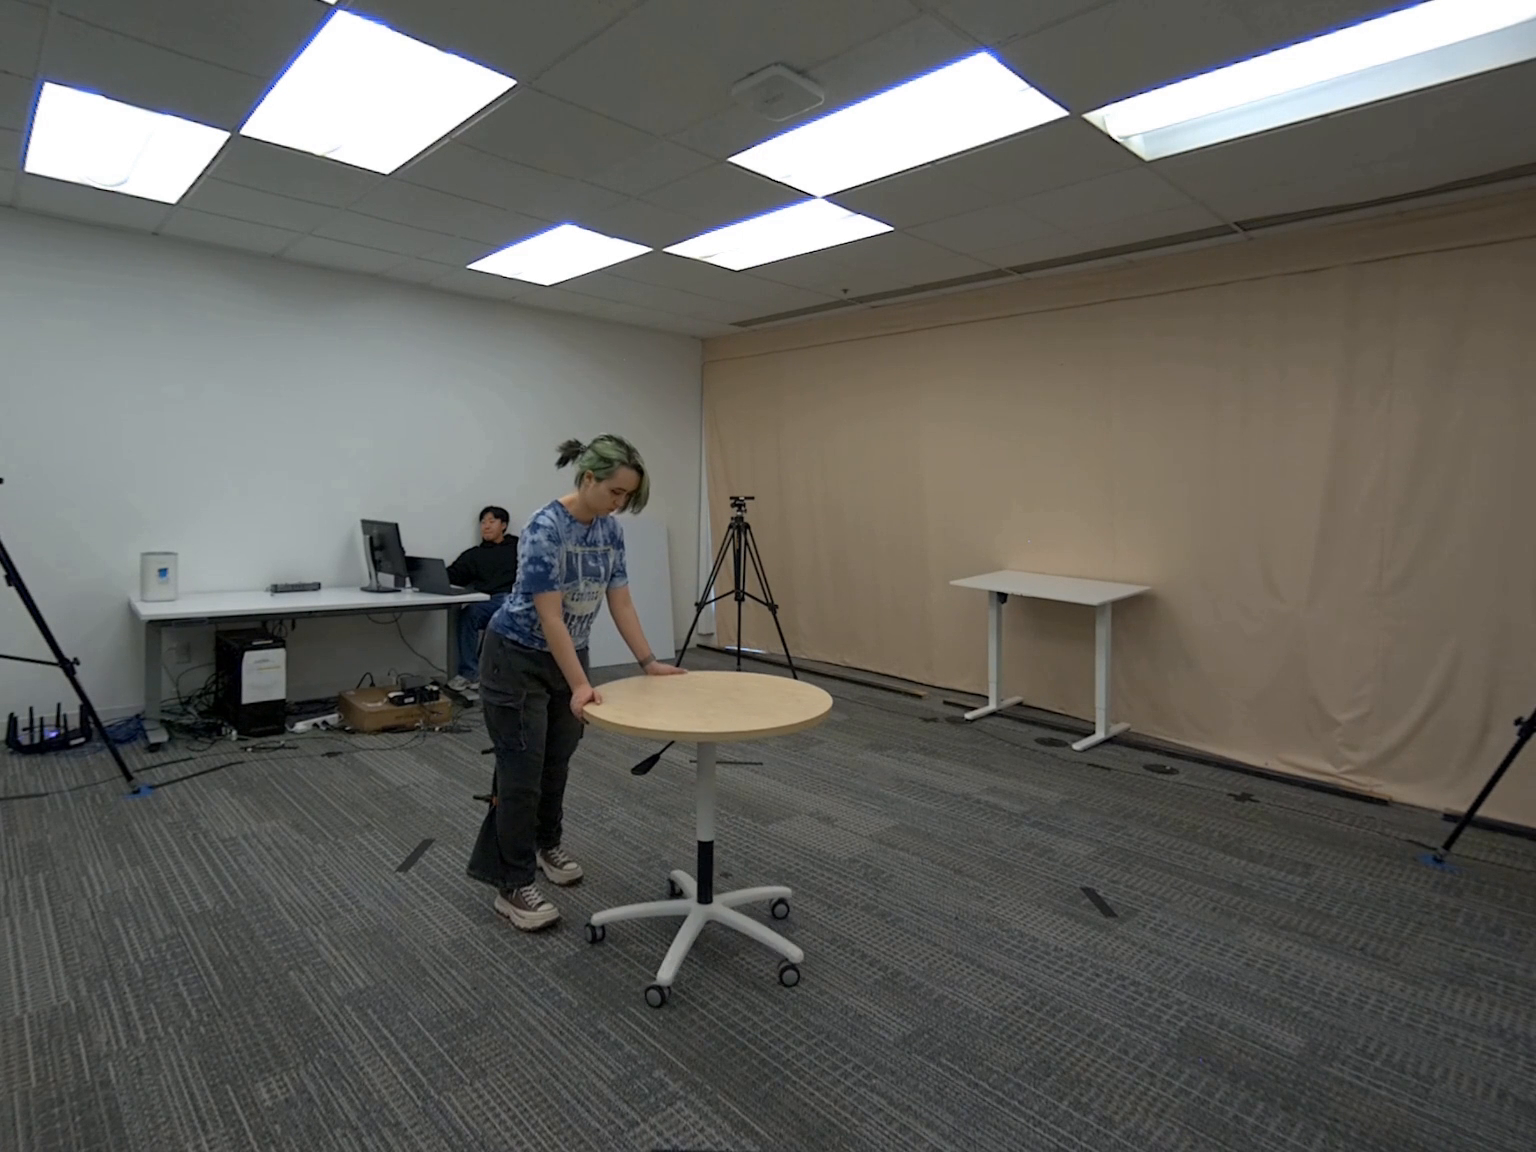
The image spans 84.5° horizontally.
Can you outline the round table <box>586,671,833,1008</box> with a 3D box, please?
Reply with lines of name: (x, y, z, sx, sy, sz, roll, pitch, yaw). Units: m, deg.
round table: (-0.201, 0.763, 2.586, 0.763, 0.792, 0.766, 1, 4, -1)
